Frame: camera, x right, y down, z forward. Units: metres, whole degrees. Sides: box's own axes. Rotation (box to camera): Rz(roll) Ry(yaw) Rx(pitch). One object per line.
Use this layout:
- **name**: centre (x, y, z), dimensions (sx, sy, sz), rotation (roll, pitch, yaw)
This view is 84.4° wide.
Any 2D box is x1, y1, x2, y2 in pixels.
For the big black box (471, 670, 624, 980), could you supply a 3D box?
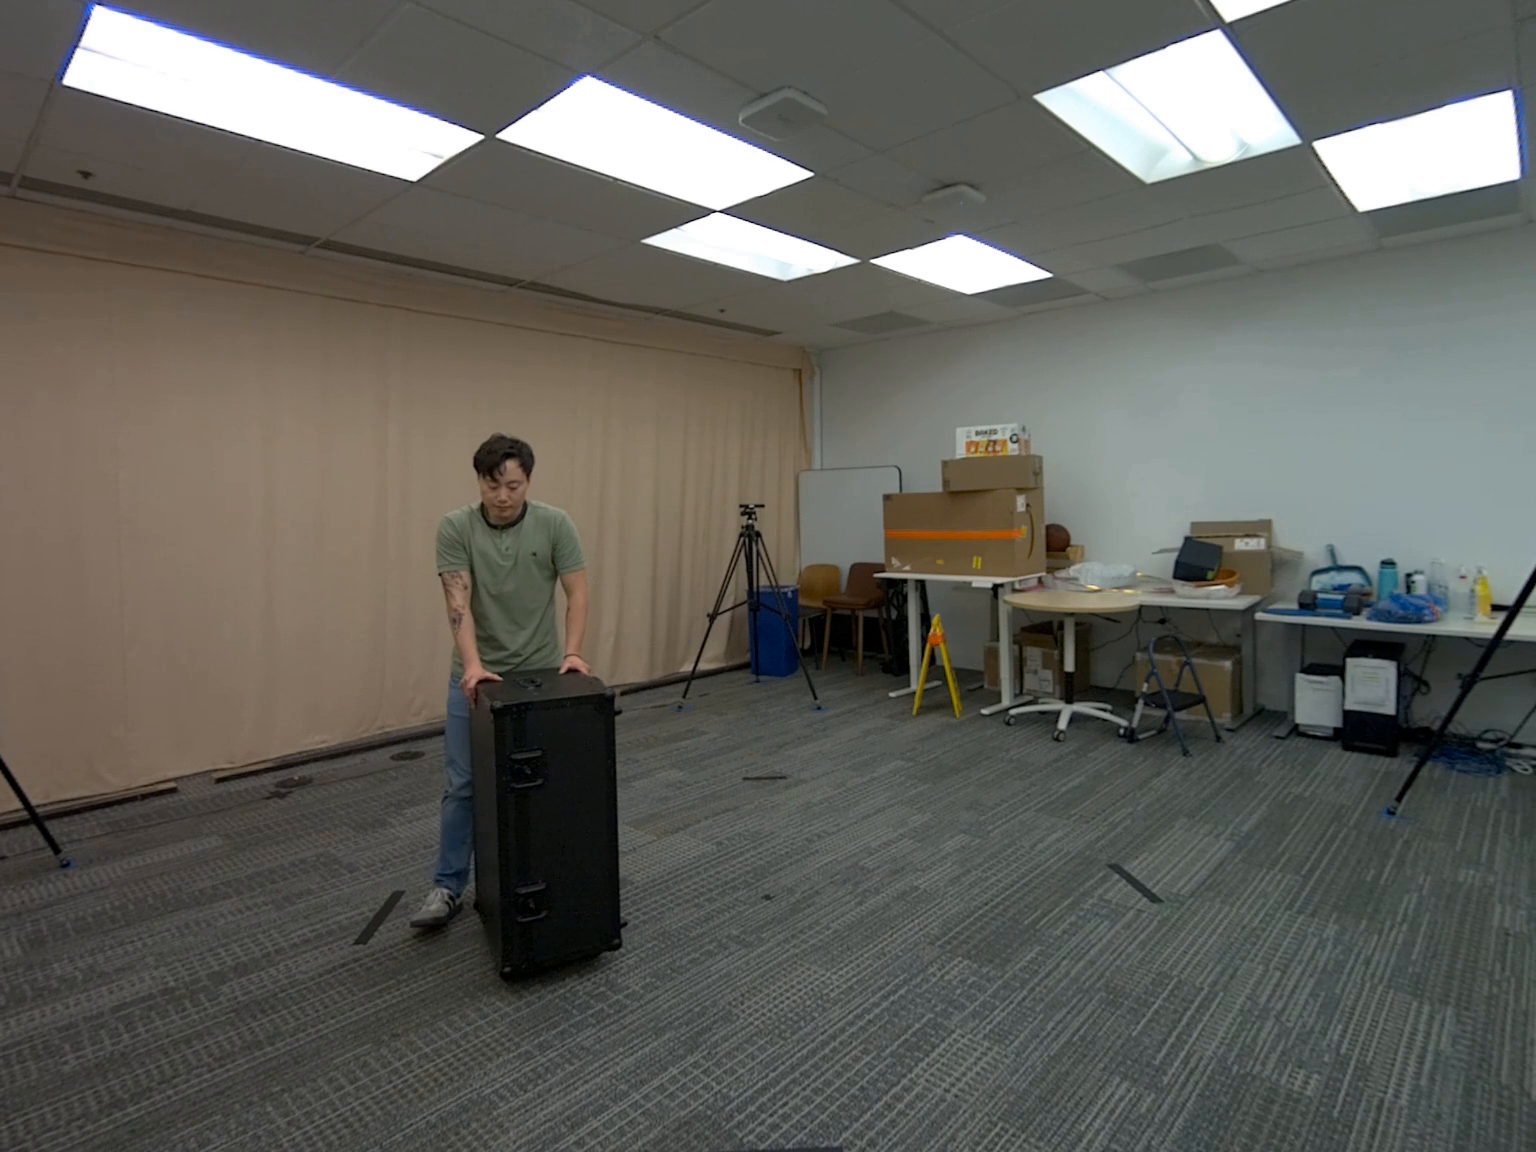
- **big black box**: centre (-0.702, 0.758, 2.649), dimensions (0.386, 0.860, 0.535), rotation (-2, 3, -27)
